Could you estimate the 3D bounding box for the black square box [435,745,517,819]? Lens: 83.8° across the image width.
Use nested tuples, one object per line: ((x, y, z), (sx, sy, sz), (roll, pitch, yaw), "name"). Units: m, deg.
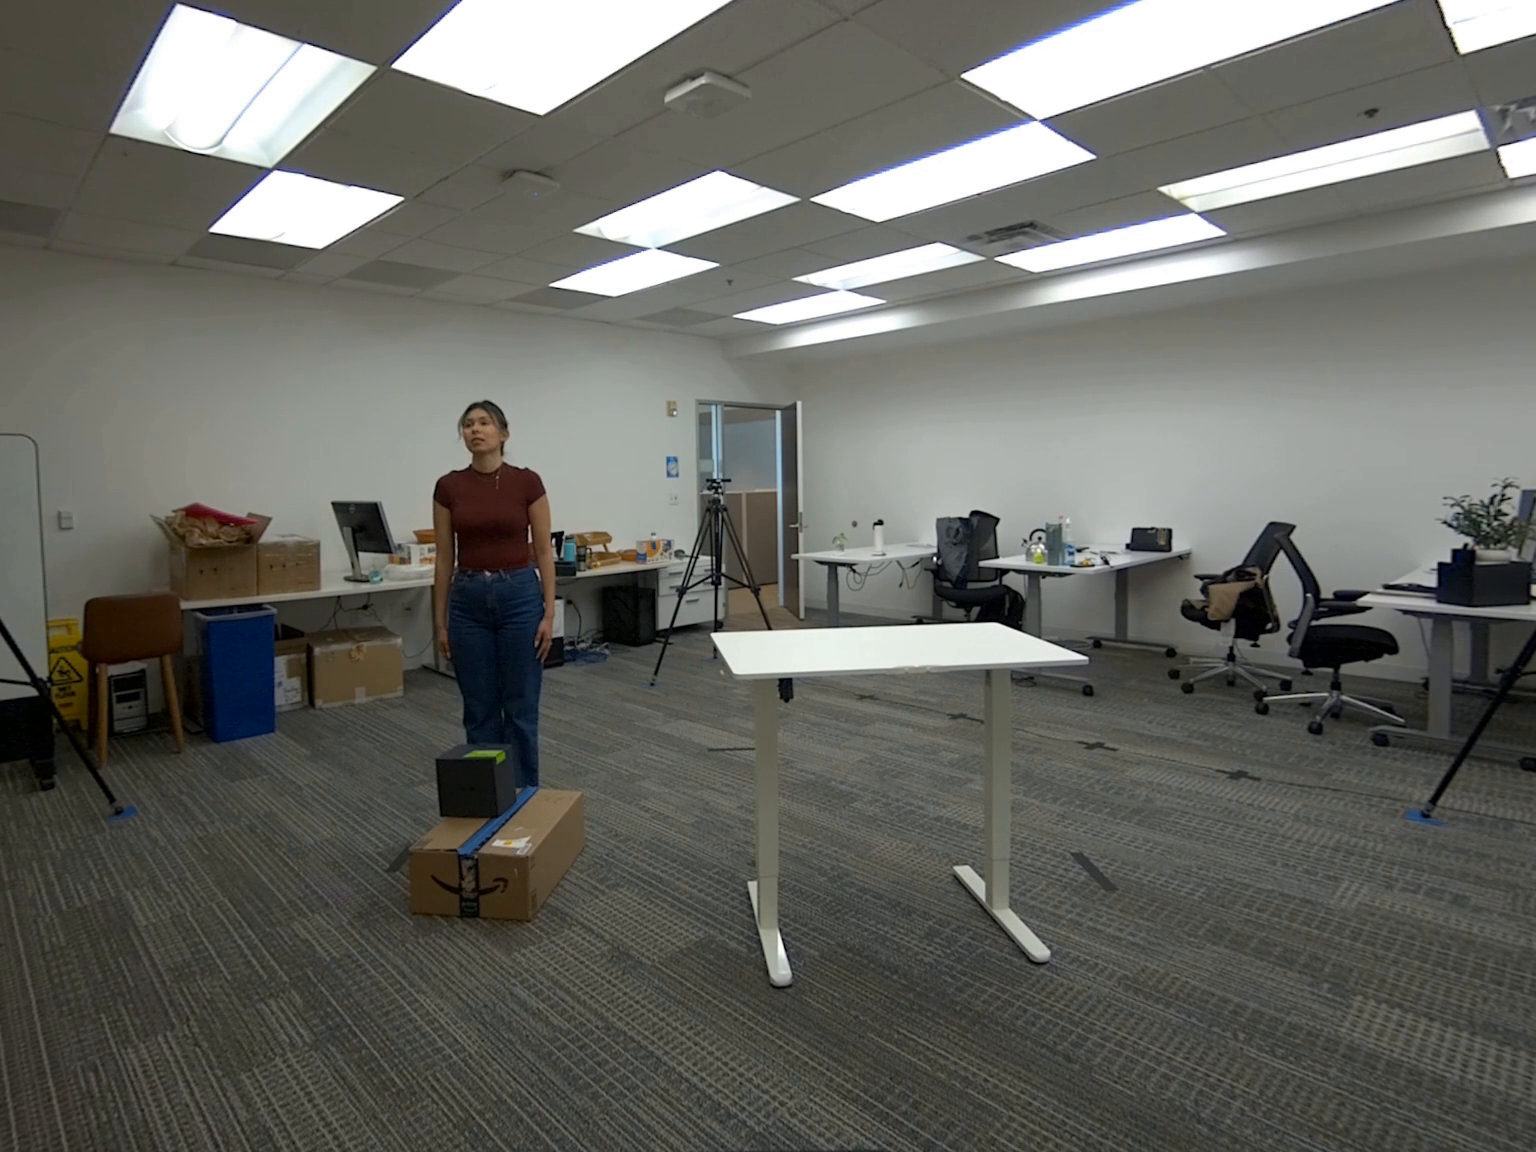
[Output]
((-1.056, 0.740, 3.097), (0.230, 0.216, 0.155), (-4, 5, 12), "black square box")
